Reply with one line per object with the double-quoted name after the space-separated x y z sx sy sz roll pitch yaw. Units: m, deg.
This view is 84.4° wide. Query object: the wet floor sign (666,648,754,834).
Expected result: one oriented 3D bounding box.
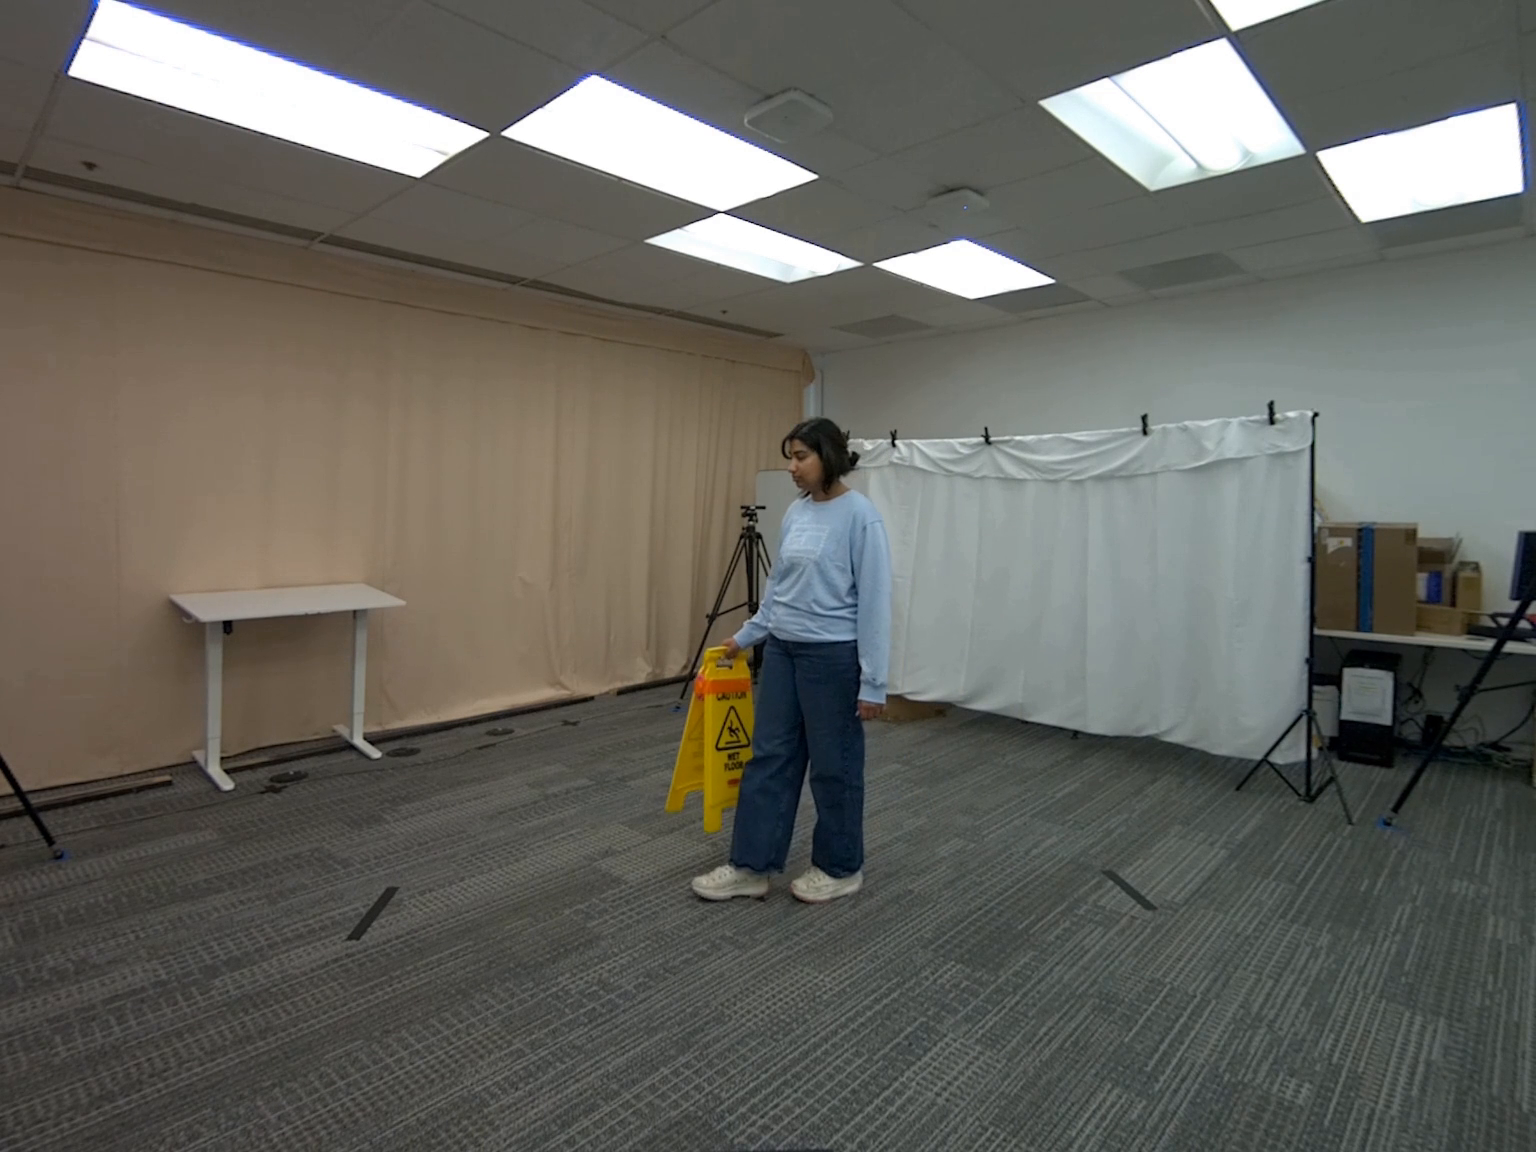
-0.174 0.597 3.213 0.273 0.645 0.299 2 3 -43 "wet floor sign"
